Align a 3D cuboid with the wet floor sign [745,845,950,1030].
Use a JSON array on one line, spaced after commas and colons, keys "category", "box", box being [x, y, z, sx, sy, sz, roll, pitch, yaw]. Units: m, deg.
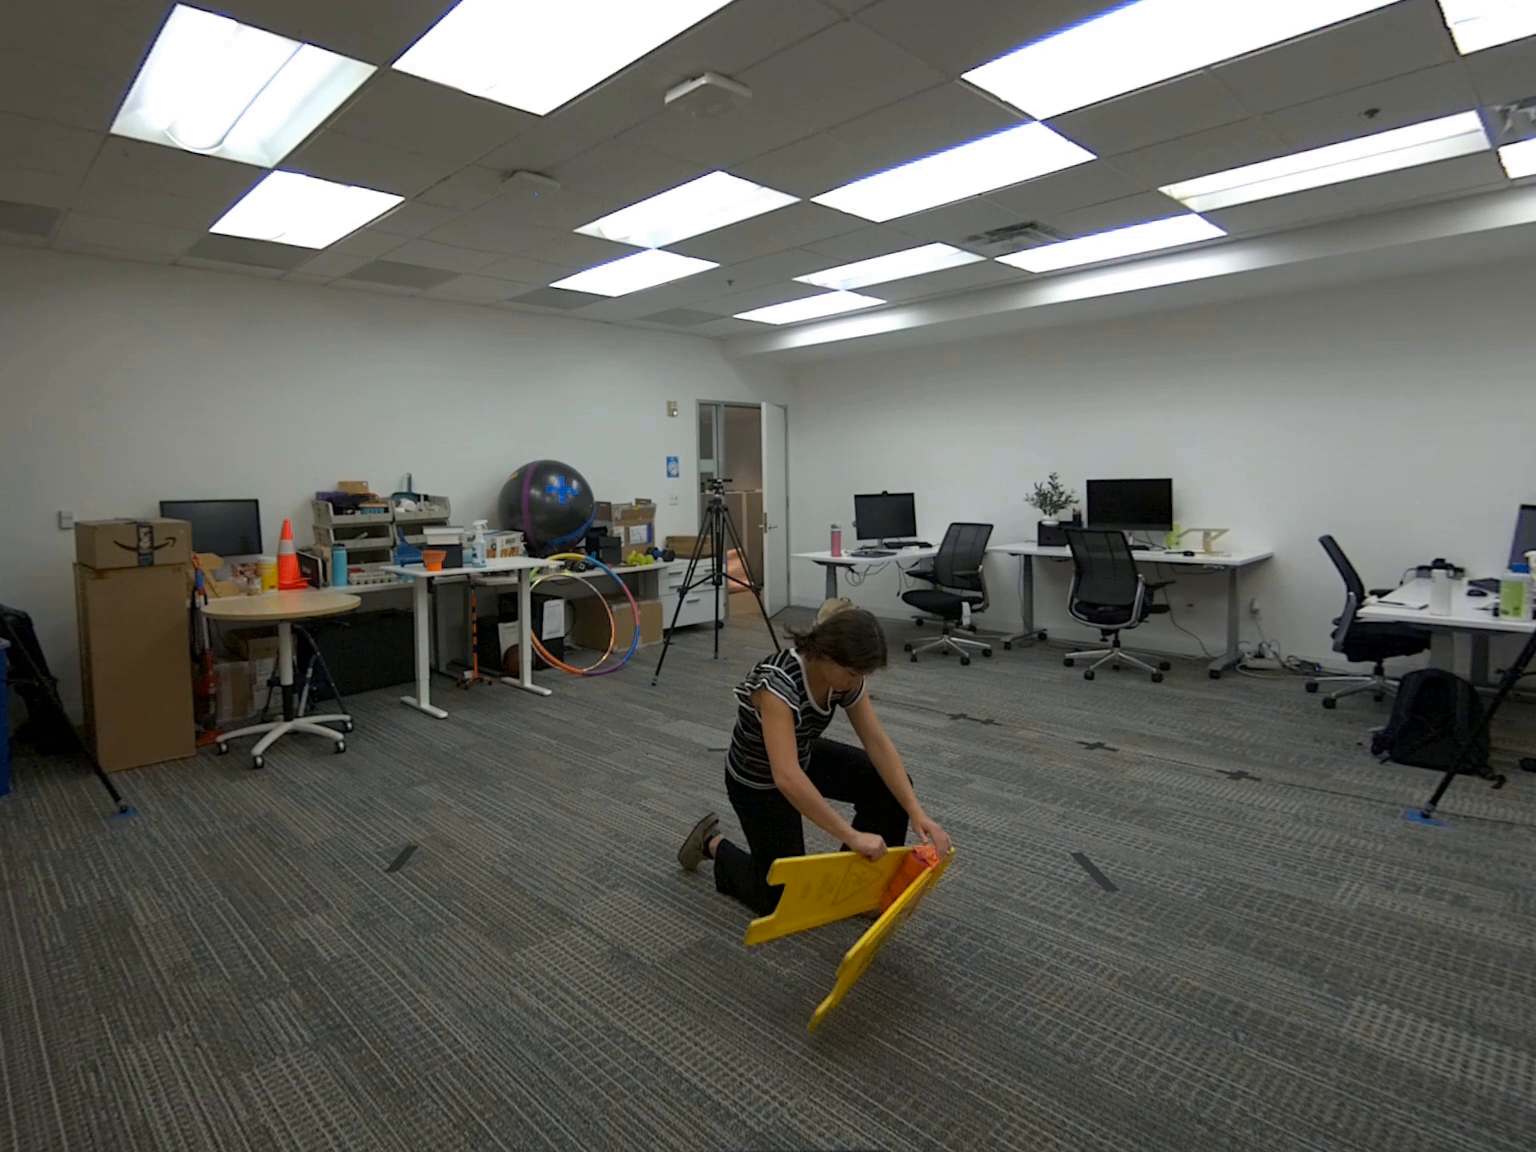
[{"category": "wet floor sign", "box": [0.289, 0.905, 2.323, 0.629, 0.279, 0.301, -5, 35, -43]}]
